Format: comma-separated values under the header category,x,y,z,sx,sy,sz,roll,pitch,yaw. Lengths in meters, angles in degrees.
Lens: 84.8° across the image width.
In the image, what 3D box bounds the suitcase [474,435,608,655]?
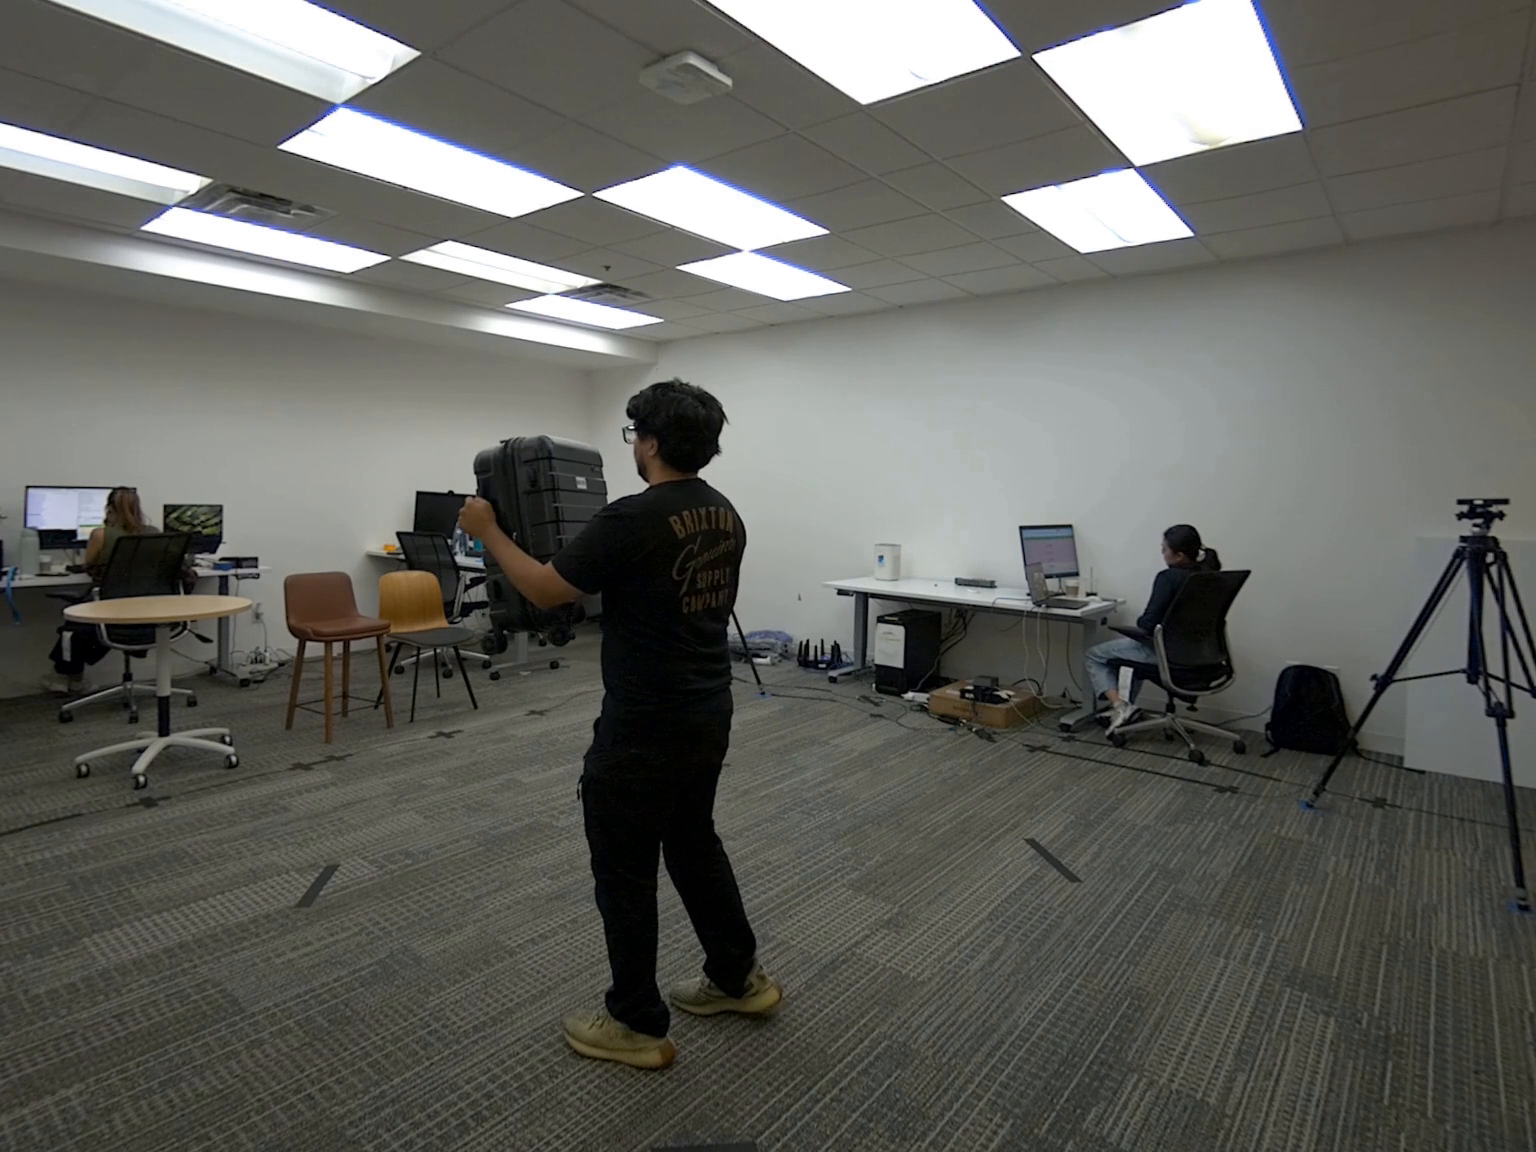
category,x,y,z,sx,sy,sz,roll,pitch,yaw
suitcase,-0.595,-0.098,2.286,0.252,0.552,0.367,-8,-3,19
